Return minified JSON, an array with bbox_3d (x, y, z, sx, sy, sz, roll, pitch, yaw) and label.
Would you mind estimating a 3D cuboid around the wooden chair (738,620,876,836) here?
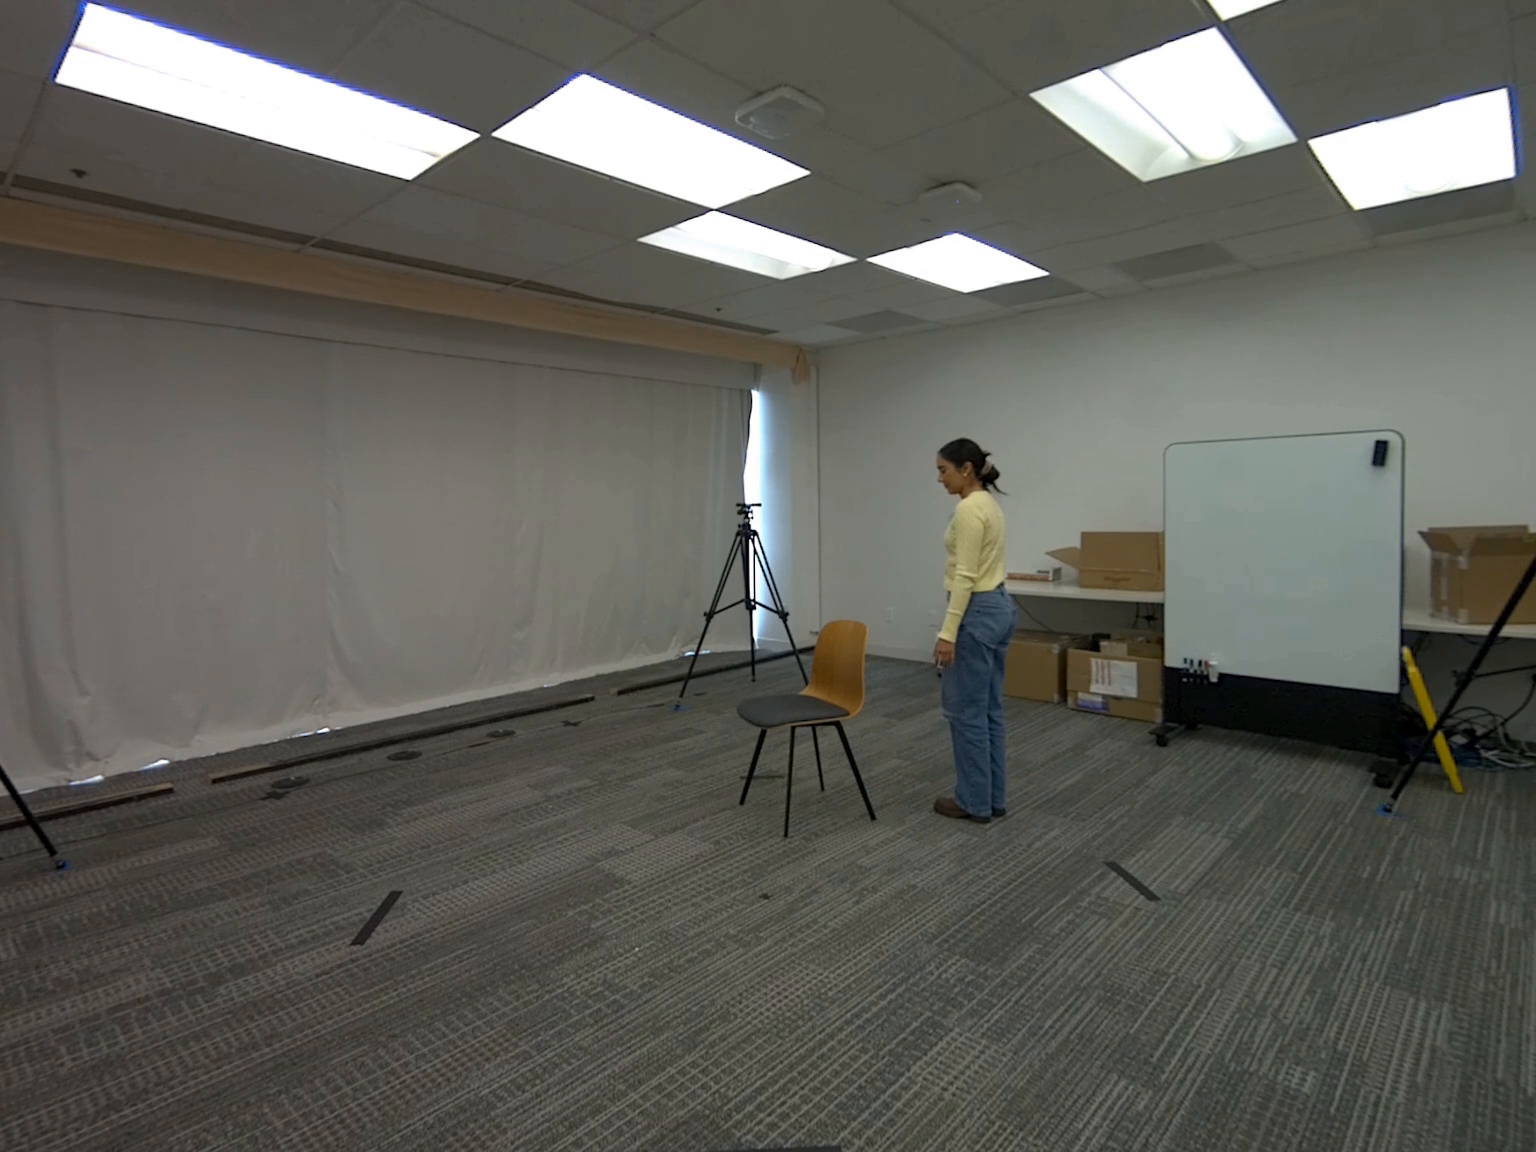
[{"bbox_3d":[0.158,0.640,3.756,0.510,0.876,0.491,3,2,-26],"label":"wooden chair"}]
